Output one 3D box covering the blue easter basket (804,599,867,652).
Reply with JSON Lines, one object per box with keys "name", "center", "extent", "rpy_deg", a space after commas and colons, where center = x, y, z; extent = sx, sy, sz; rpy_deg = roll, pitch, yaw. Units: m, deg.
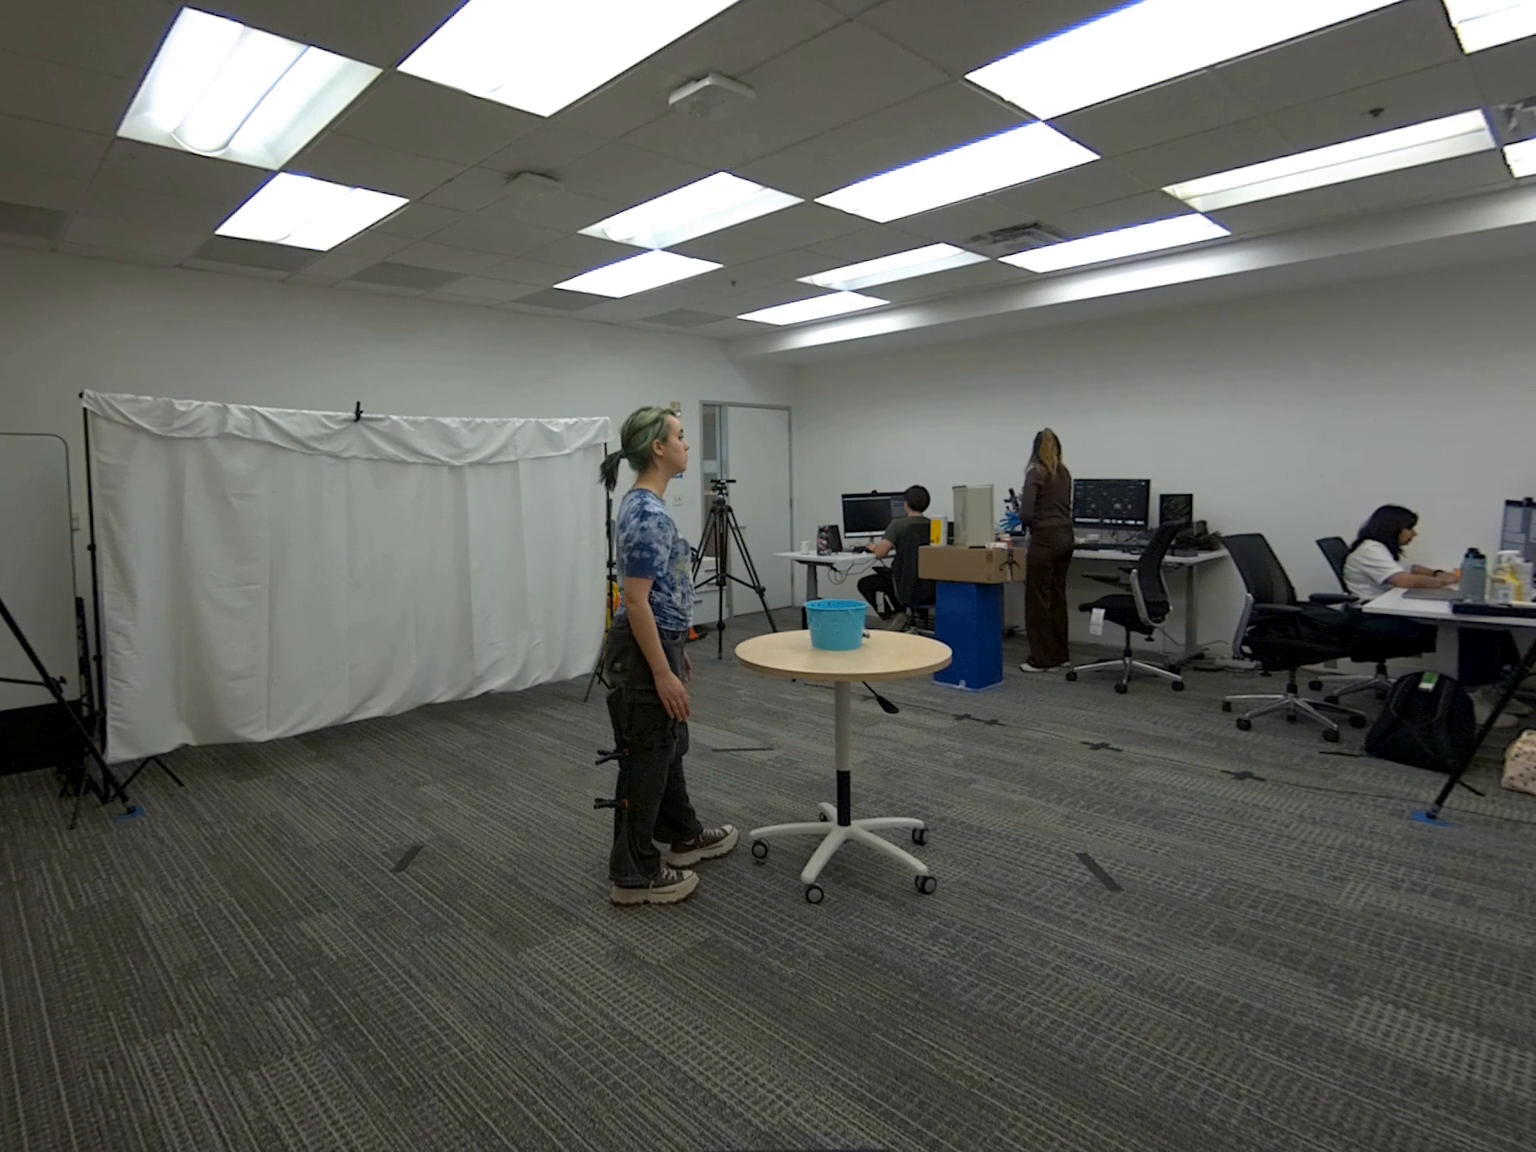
{"name": "blue easter basket", "center": [0.257, 0.181, 3.113], "extent": [0.243, 0.155, 0.245], "rpy_deg": [-2, 6, -2]}
